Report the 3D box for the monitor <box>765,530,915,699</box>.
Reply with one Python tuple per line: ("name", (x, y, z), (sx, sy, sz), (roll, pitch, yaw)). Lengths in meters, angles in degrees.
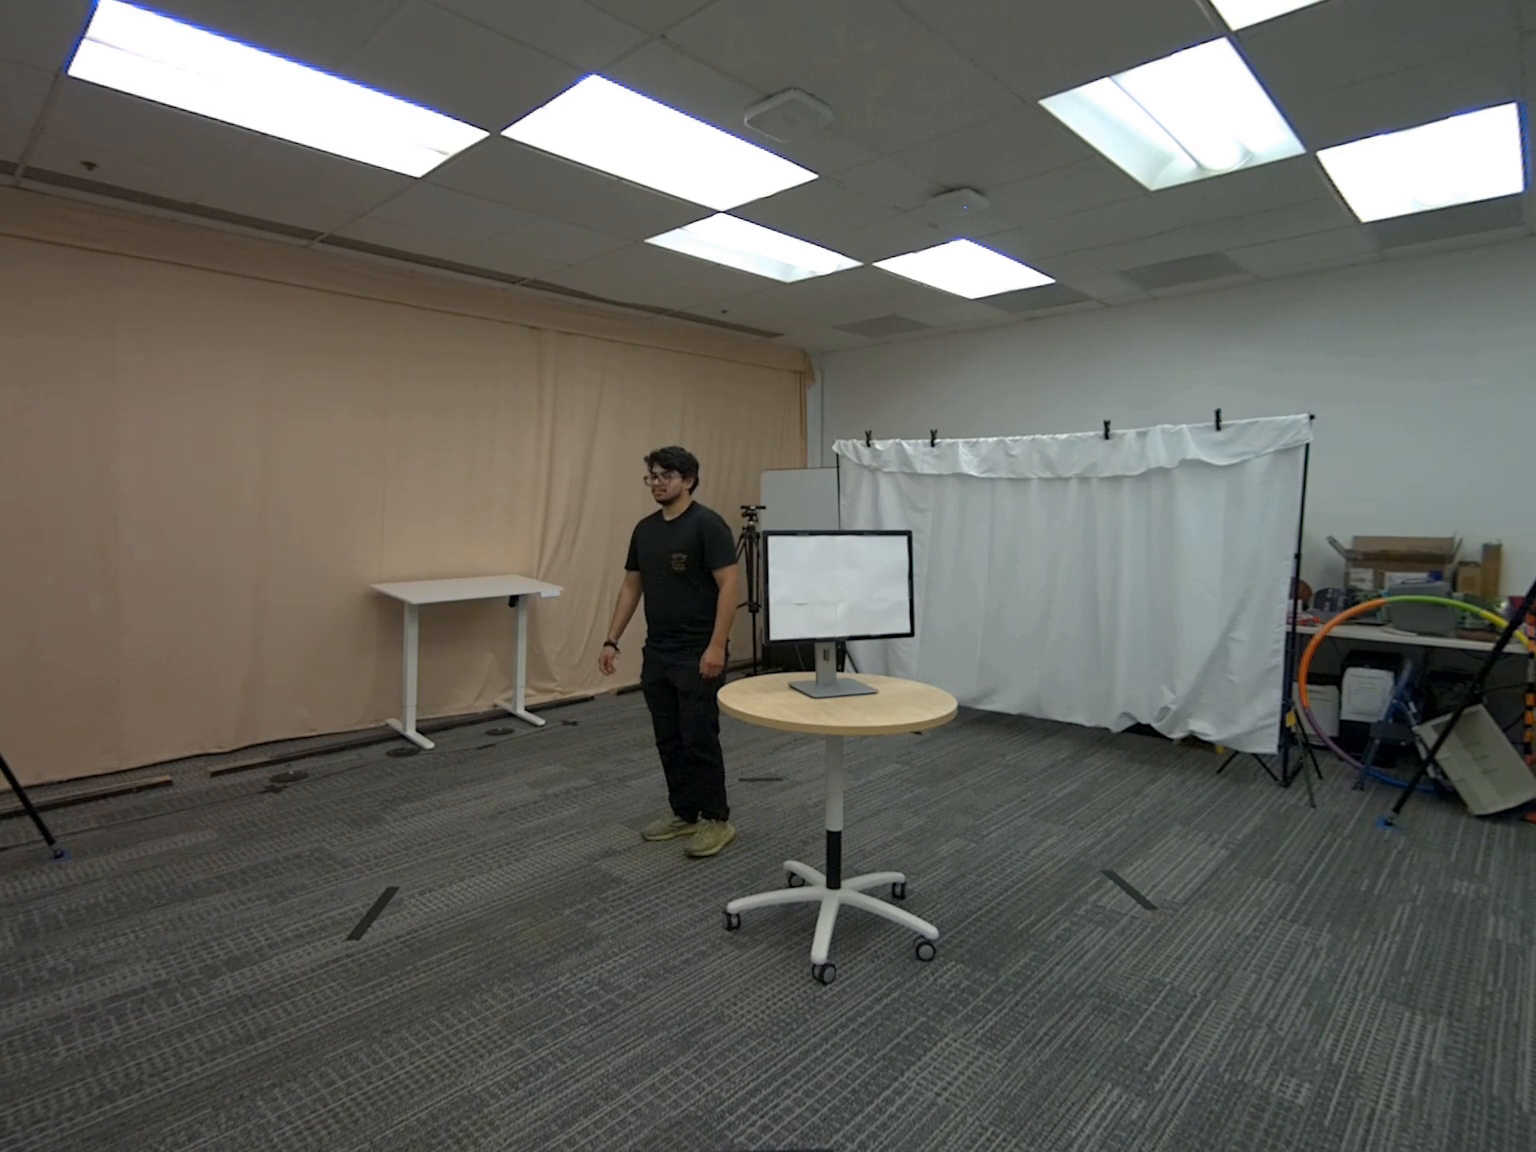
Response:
("monitor", (0.215, 0.117, 2.820), (0.553, 0.554, 0.215), (-1, 0, -22))
